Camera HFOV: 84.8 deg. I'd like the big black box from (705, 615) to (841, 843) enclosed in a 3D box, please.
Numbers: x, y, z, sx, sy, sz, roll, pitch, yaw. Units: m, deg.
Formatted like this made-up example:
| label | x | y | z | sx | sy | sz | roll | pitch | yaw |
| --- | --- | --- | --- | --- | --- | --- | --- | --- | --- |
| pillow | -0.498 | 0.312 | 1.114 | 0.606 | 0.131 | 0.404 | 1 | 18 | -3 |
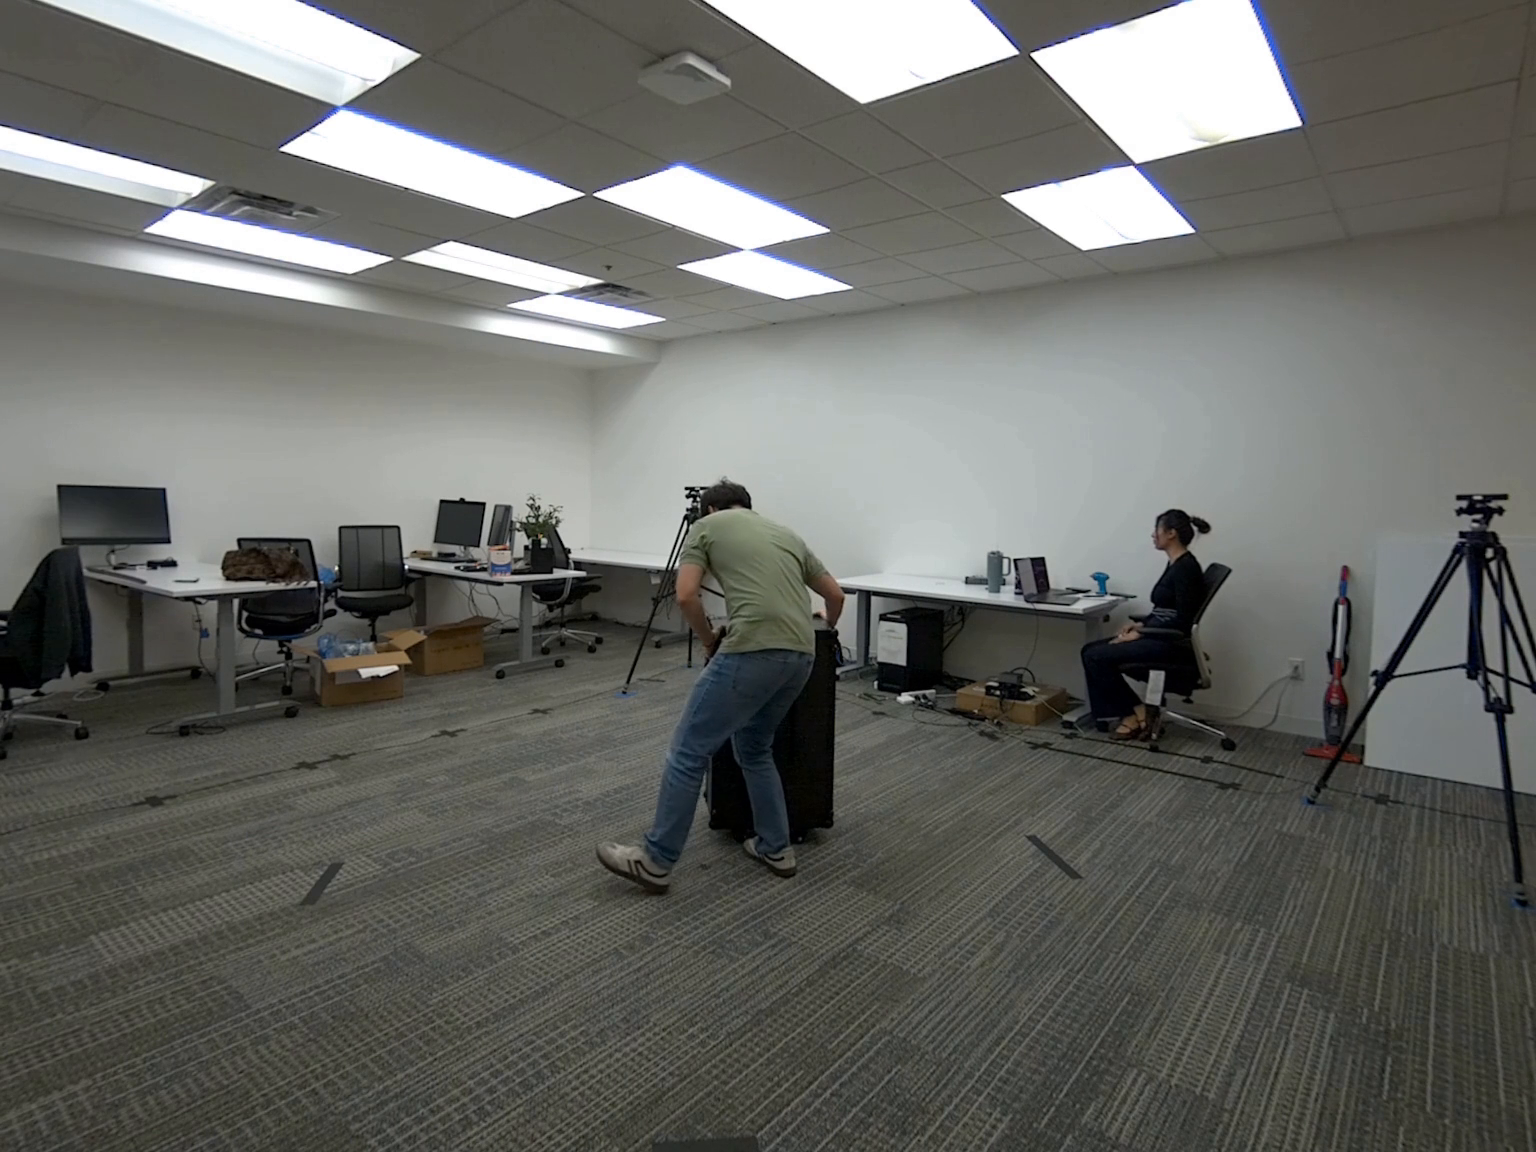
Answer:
| label | x | y | z | sx | sy | sz | roll | pitch | yaw |
| --- | --- | --- | --- | --- | --- | --- | --- | --- | --- |
| big black box | 0.001 | 0.611 | 3.452 | 0.519 | 0.859 | 0.399 | 1 | 4 | -4 |
